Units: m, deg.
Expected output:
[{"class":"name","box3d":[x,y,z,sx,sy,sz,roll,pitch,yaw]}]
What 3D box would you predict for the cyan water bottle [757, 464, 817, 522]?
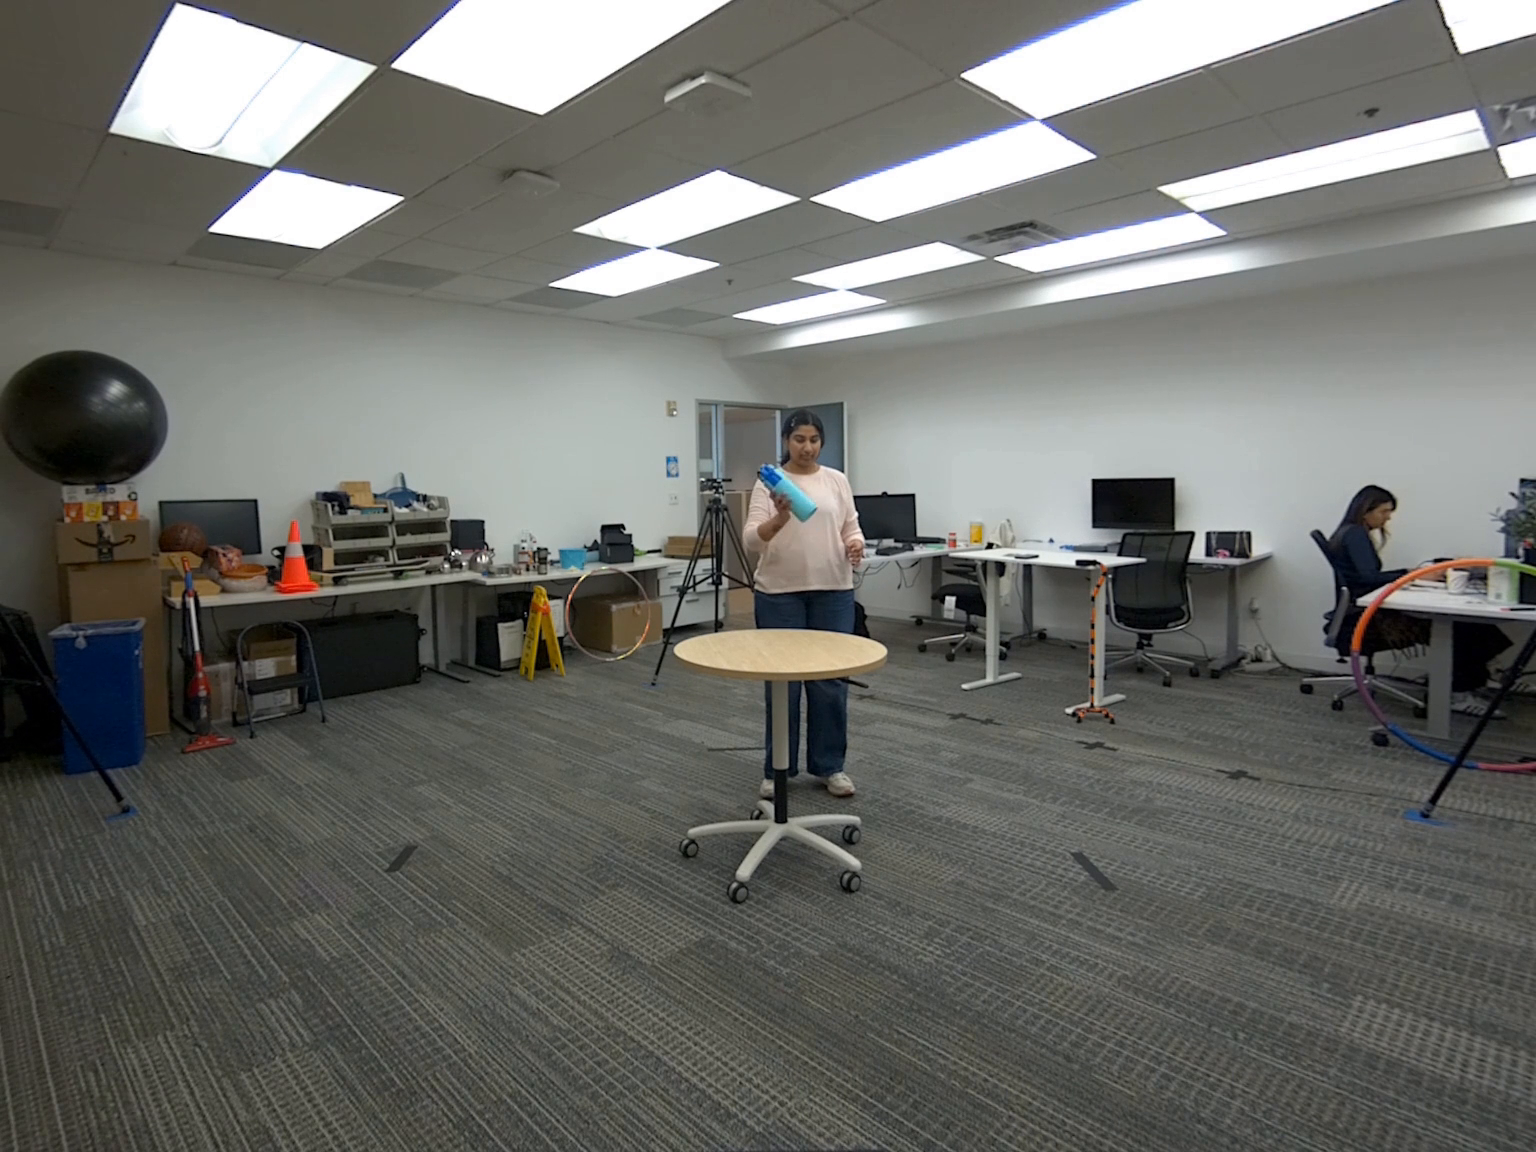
[{"class":"cyan water bottle","box3d":[0.072,-0.340,3.399,0.092,0.287,0.091,-42,-11,-10]}]
